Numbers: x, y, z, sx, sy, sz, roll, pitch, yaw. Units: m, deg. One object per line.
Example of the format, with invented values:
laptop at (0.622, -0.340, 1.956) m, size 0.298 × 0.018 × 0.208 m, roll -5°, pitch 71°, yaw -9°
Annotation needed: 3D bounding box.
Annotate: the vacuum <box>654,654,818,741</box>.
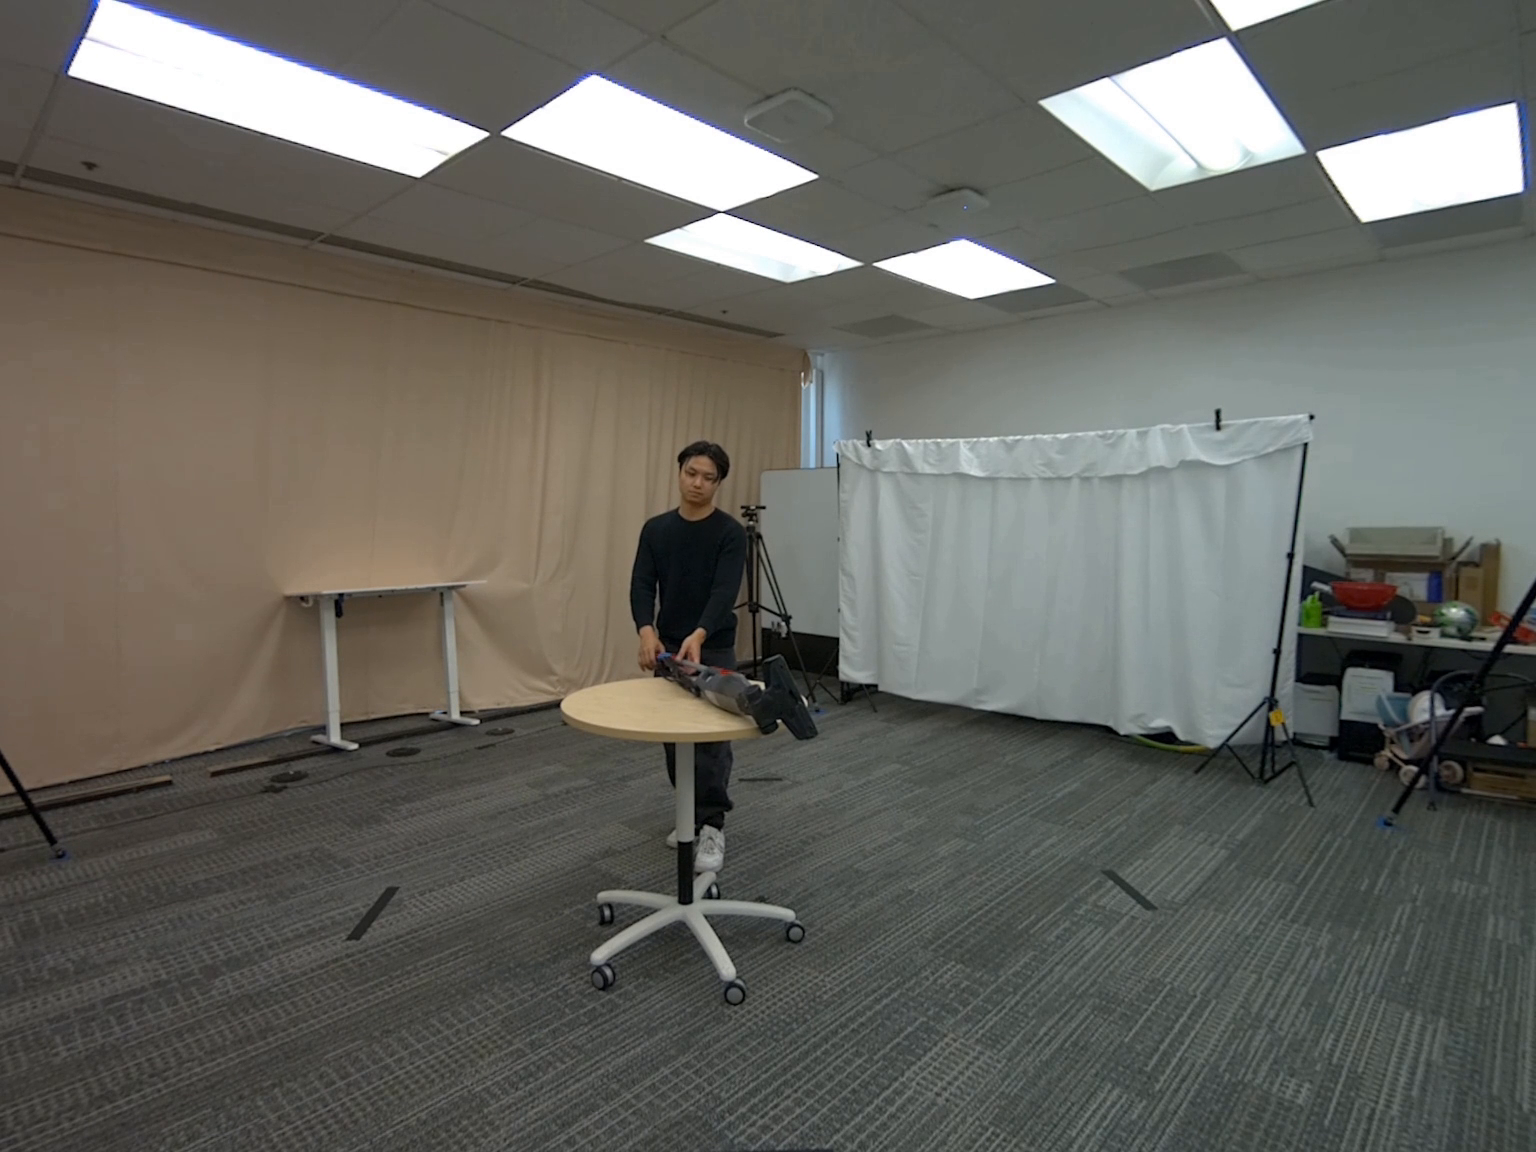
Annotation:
vacuum at (-0.214, 0.341, 2.735) m, size 0.142 × 0.249 × 1.076 m, roll -30°, pitch 14°, yaw -25°
